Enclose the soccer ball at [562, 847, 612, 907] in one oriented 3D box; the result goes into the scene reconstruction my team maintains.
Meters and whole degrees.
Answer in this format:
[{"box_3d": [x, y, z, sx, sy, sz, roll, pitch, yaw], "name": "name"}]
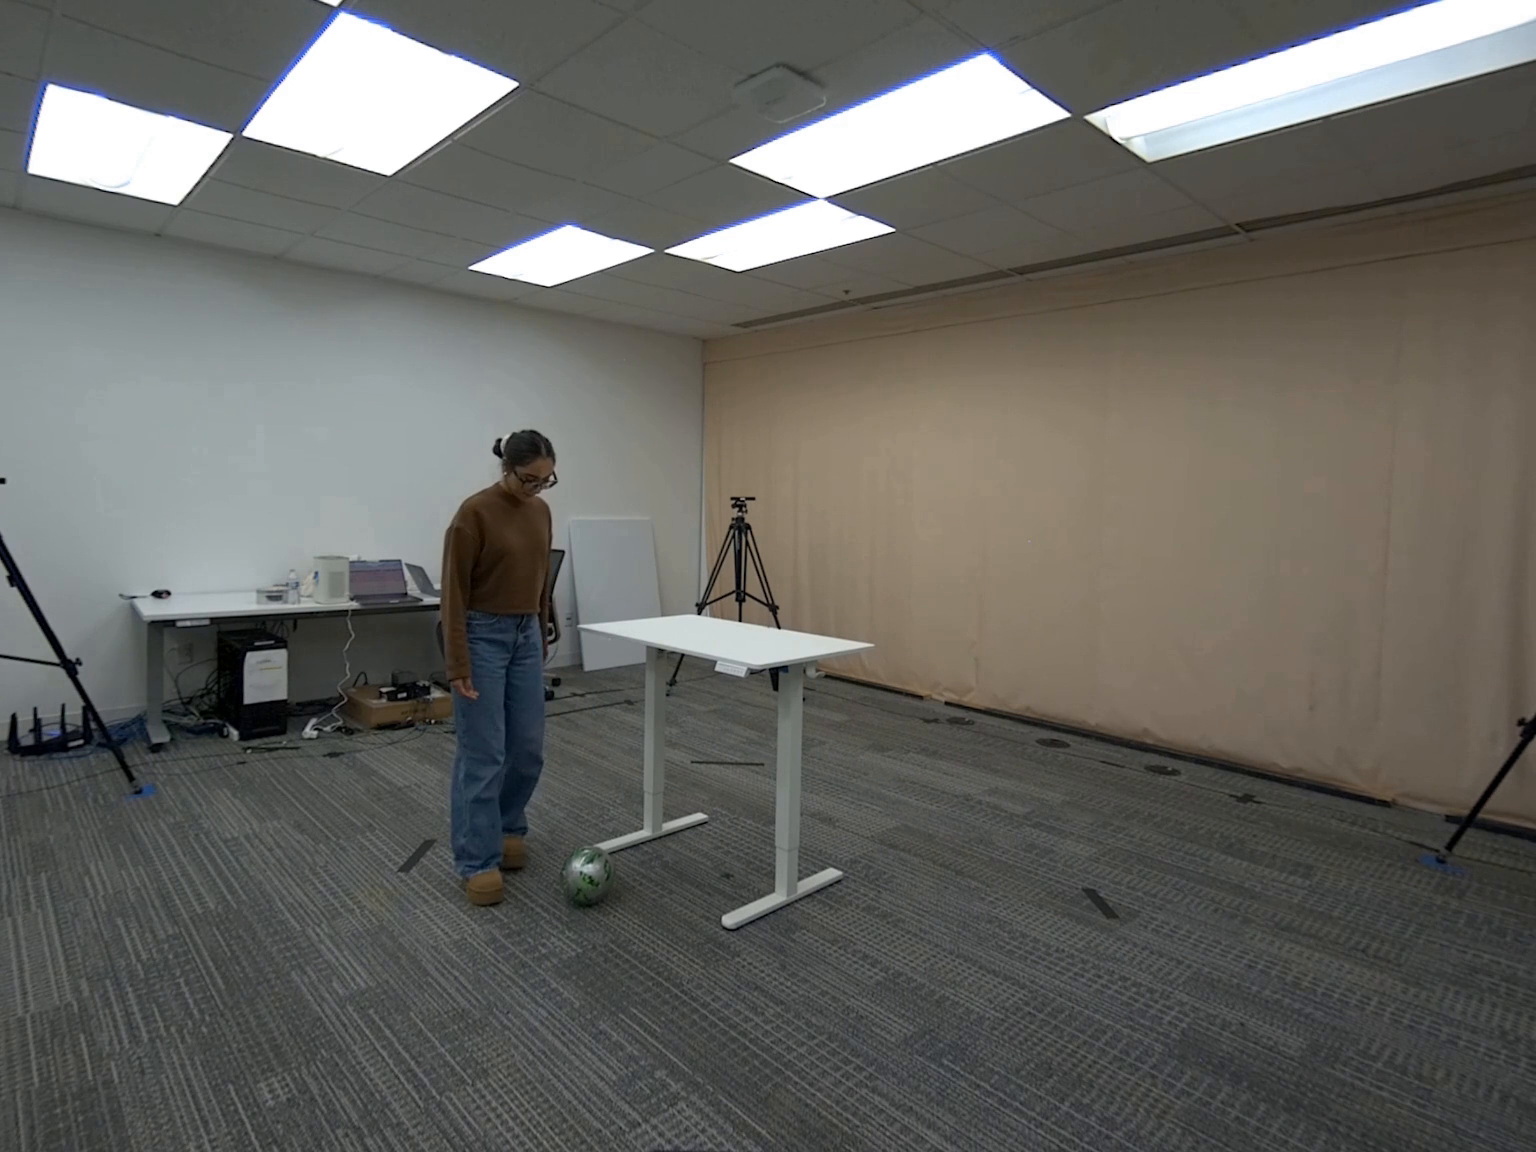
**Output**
[{"box_3d": [-0.637, 1.019, 2.867, 0.187, 0.187, 0.188, 1, 4, -1], "name": "soccer ball"}]
